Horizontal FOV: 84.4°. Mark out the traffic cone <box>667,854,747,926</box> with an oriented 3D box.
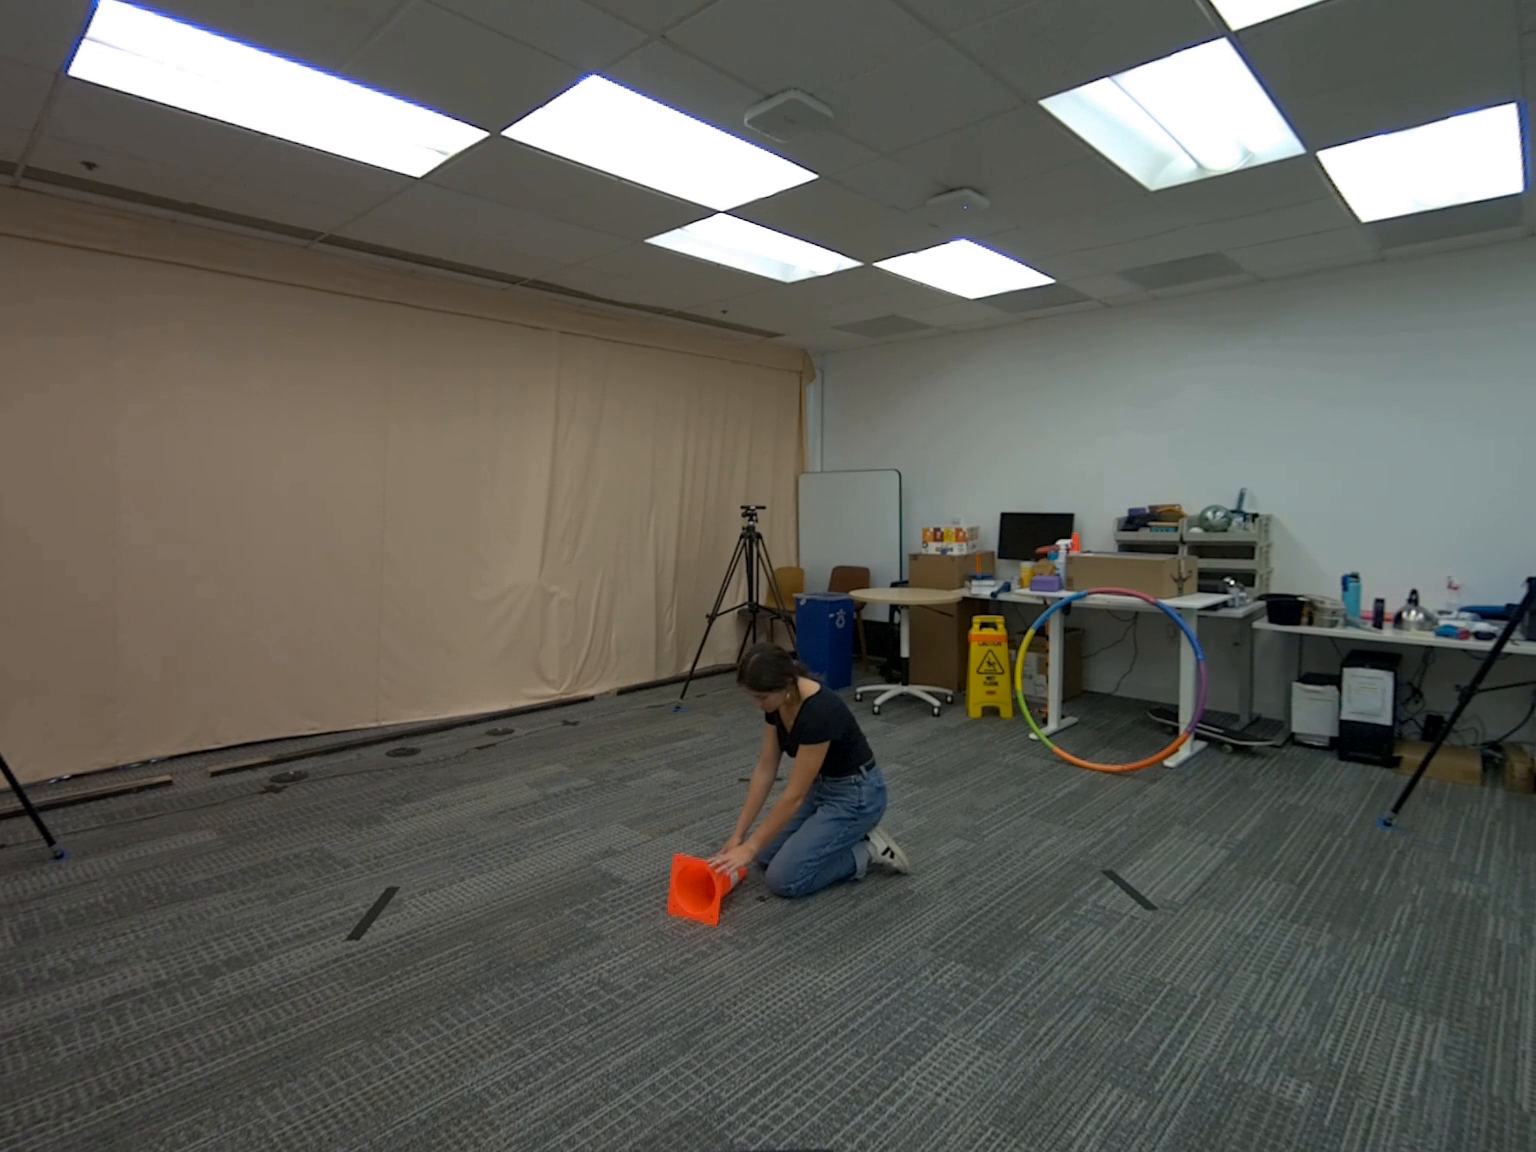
[{"bbox_3d":[-0.161,1.088,3.012,0.209,0.206,0.372,3,-6,25],"label":"traffic cone"}]
